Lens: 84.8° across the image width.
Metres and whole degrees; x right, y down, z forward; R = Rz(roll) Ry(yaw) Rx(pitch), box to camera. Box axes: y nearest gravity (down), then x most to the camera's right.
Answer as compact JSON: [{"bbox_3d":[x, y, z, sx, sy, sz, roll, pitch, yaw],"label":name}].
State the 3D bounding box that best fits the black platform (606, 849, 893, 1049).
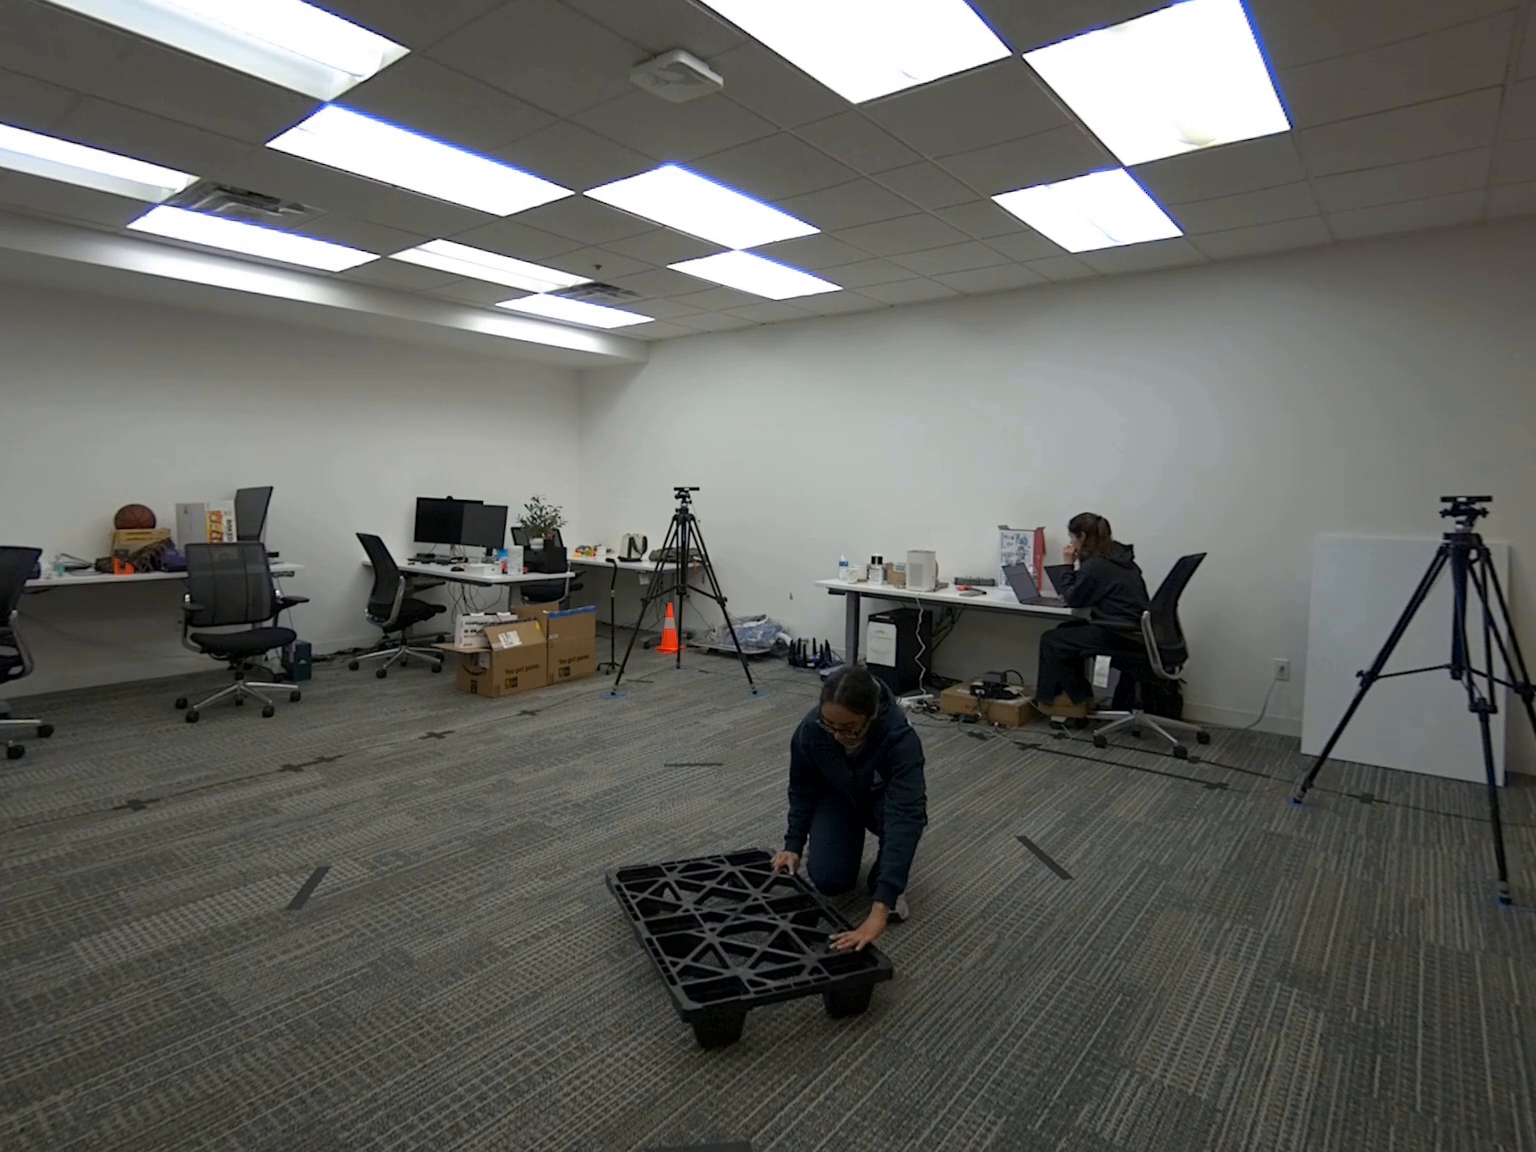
[{"bbox_3d":[-0.103,1.057,2.531,0.592,0.143,0.827,0,6,-23],"label":"black platform"}]
